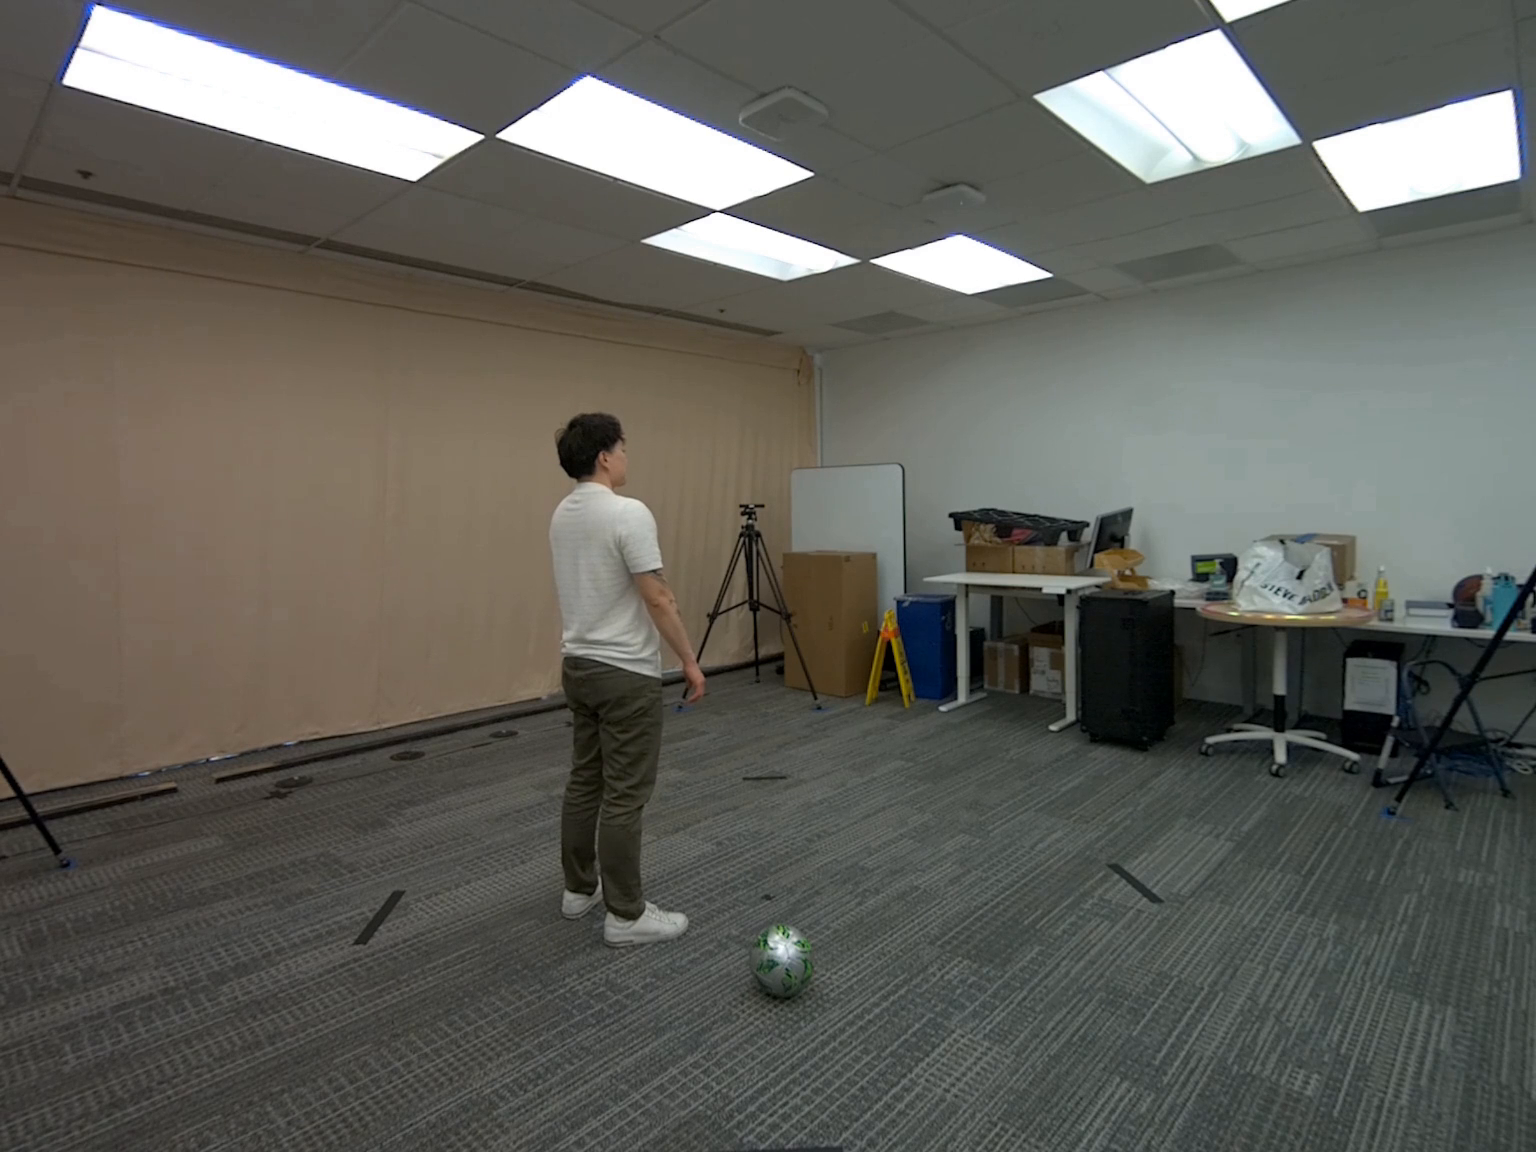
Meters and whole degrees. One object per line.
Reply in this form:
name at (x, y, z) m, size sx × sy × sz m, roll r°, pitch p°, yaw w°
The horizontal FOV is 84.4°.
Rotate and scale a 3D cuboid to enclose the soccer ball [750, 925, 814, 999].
soccer ball at (0.044, 1.094, 2.401) m, size 0.187 × 0.187 × 0.188 m, roll -1°, pitch 4°, yaw -2°
